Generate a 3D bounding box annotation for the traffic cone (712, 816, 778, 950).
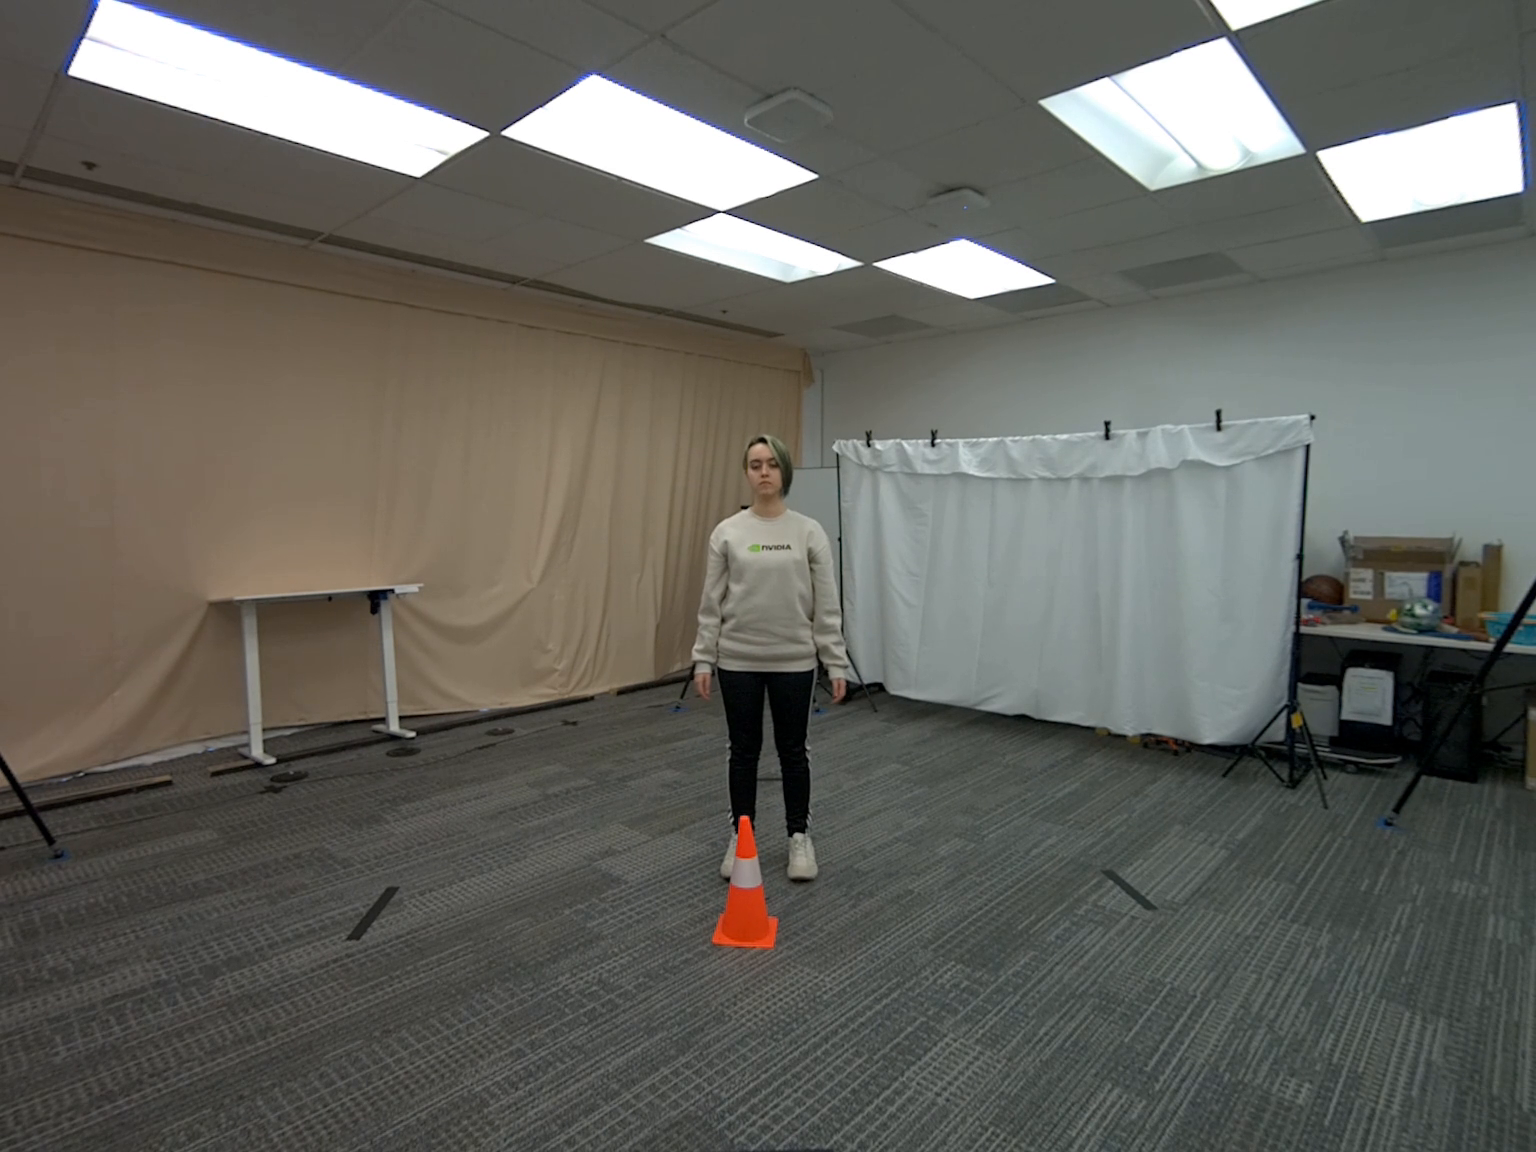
[{"bbox_3d":[-0.074,0.978,2.745,0.207,0.383,0.202,-1,4,9],"label":"traffic cone"}]
